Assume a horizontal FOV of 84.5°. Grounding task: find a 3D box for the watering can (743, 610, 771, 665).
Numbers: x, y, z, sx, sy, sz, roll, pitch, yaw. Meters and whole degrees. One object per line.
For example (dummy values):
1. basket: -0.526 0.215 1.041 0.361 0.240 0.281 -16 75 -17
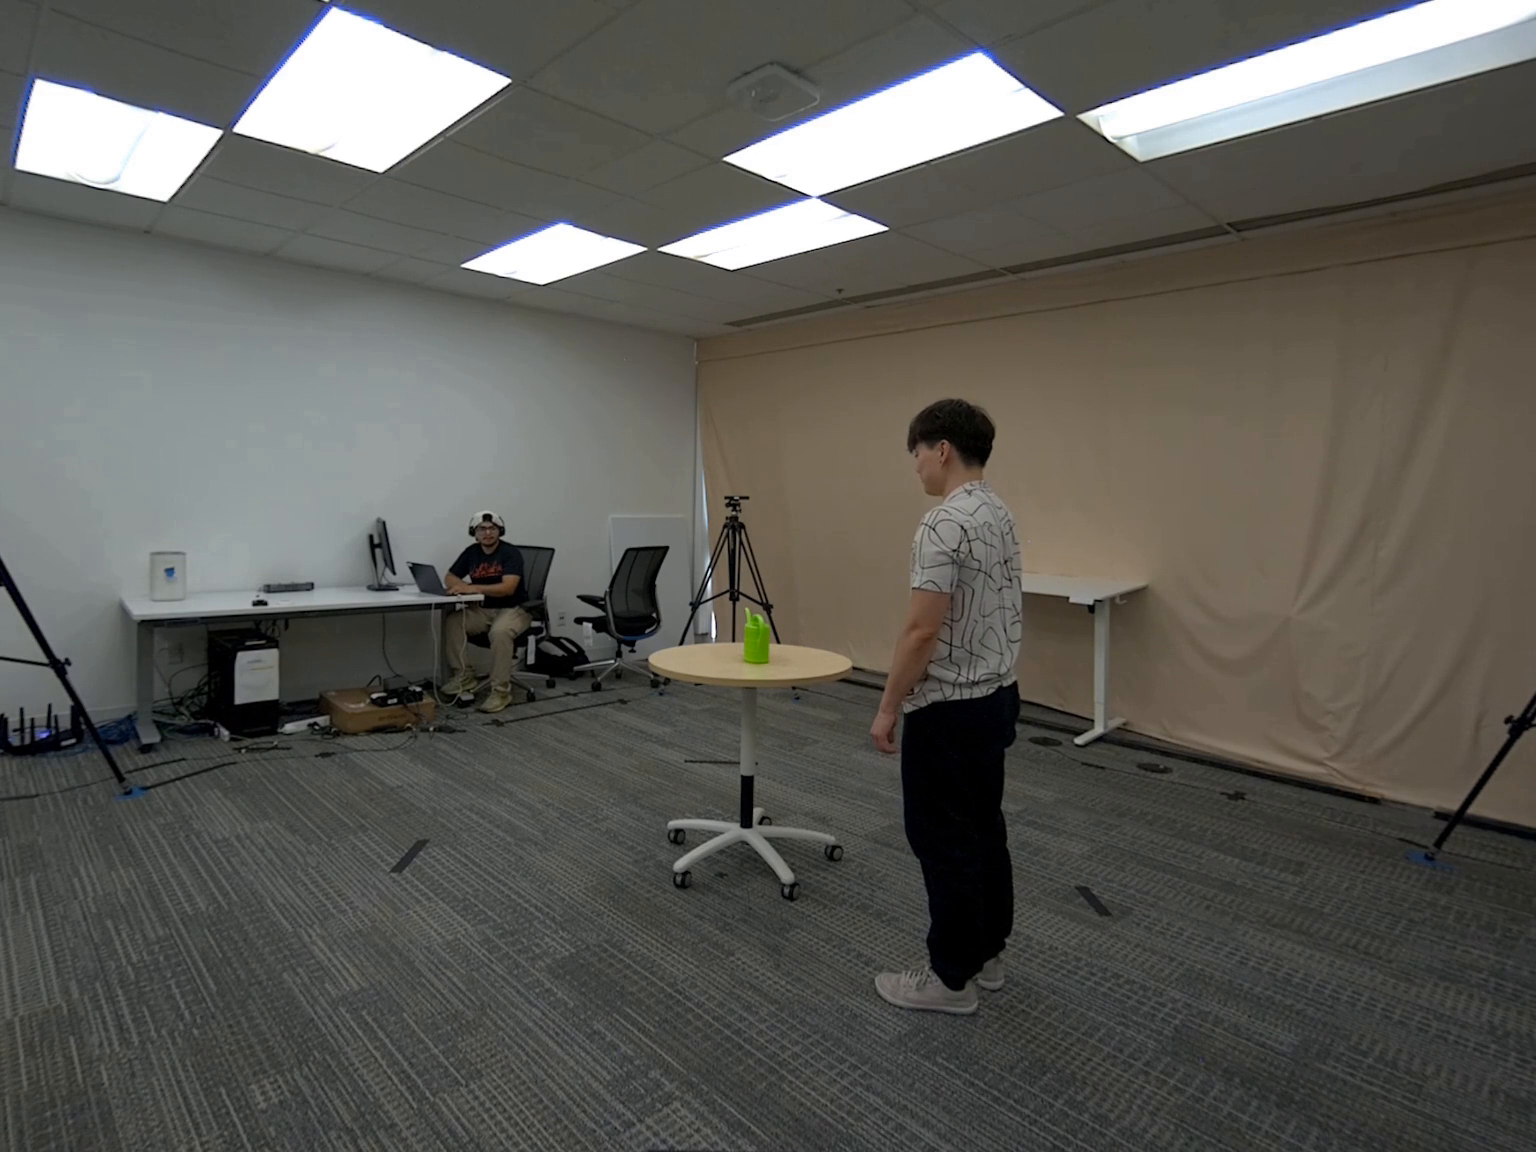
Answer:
1. watering can: -0.046 0.234 3.180 0.098 0.176 0.278 4 4 1
